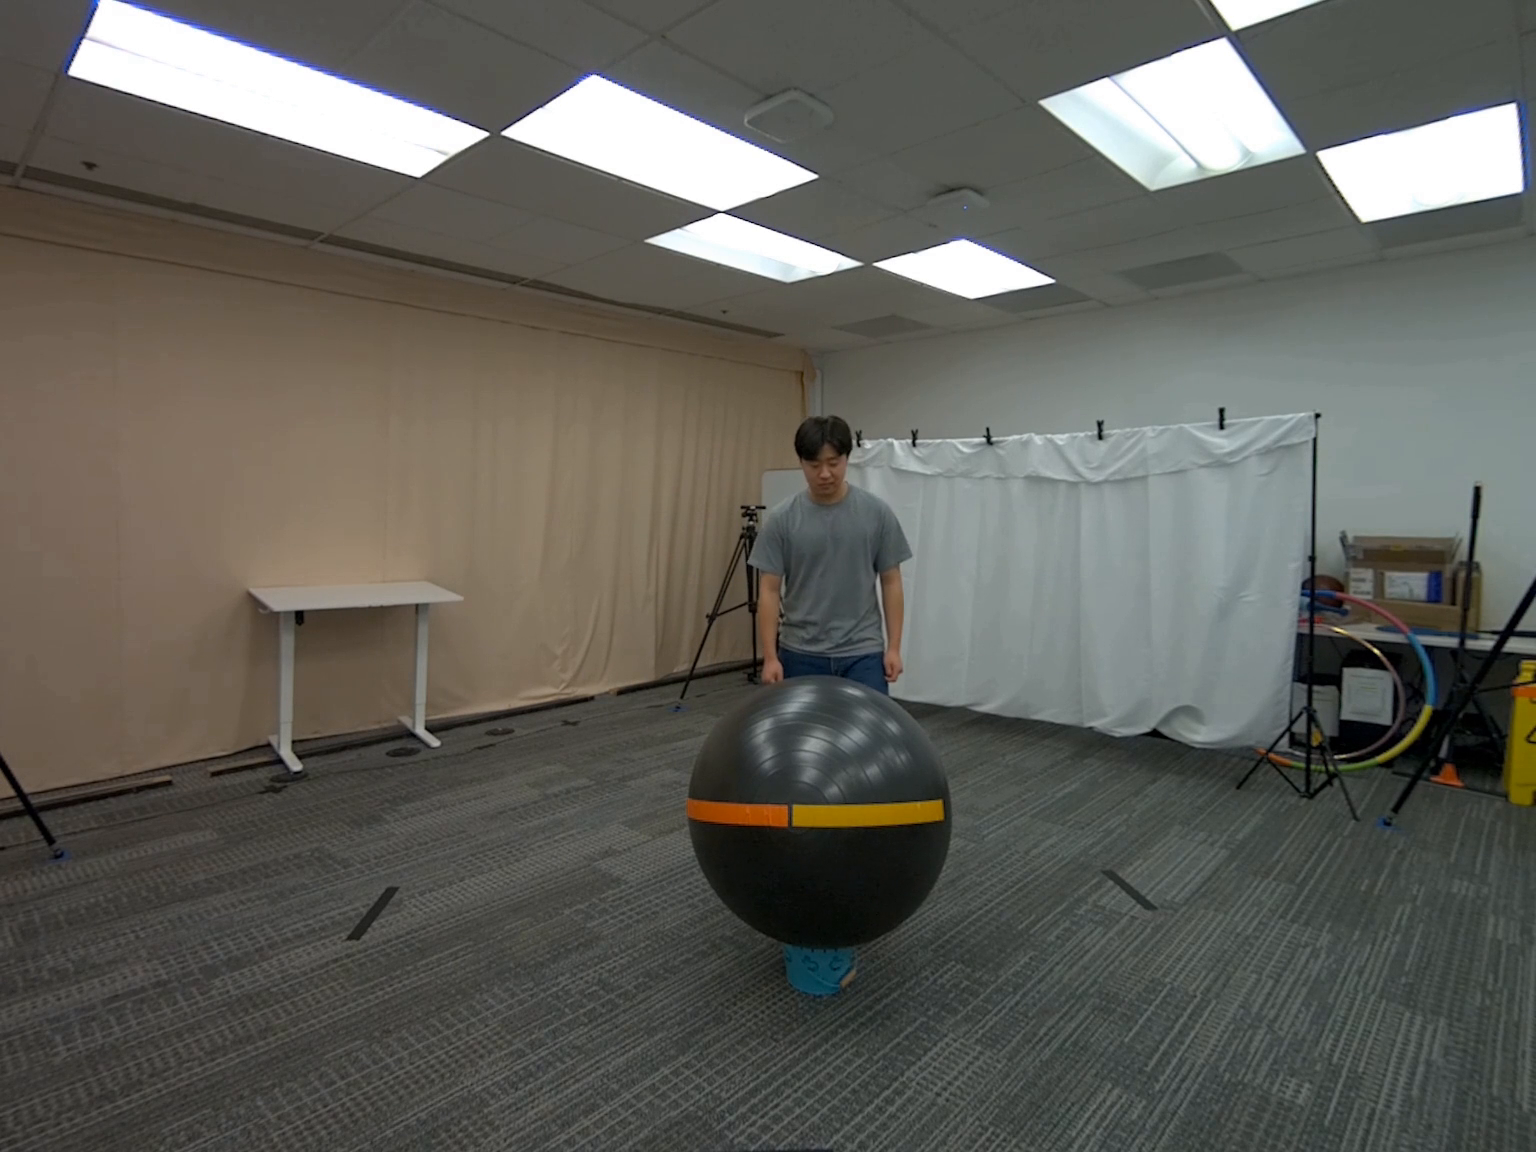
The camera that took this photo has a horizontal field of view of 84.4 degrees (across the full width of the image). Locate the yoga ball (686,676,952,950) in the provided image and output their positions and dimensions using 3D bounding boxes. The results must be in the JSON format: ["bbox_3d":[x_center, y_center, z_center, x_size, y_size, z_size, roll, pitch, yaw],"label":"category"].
[{"bbox_3d":[0.149,0.675,2.471,0.757,0.756,0.761,0,4,-2],"label":"yoga ball"}]
